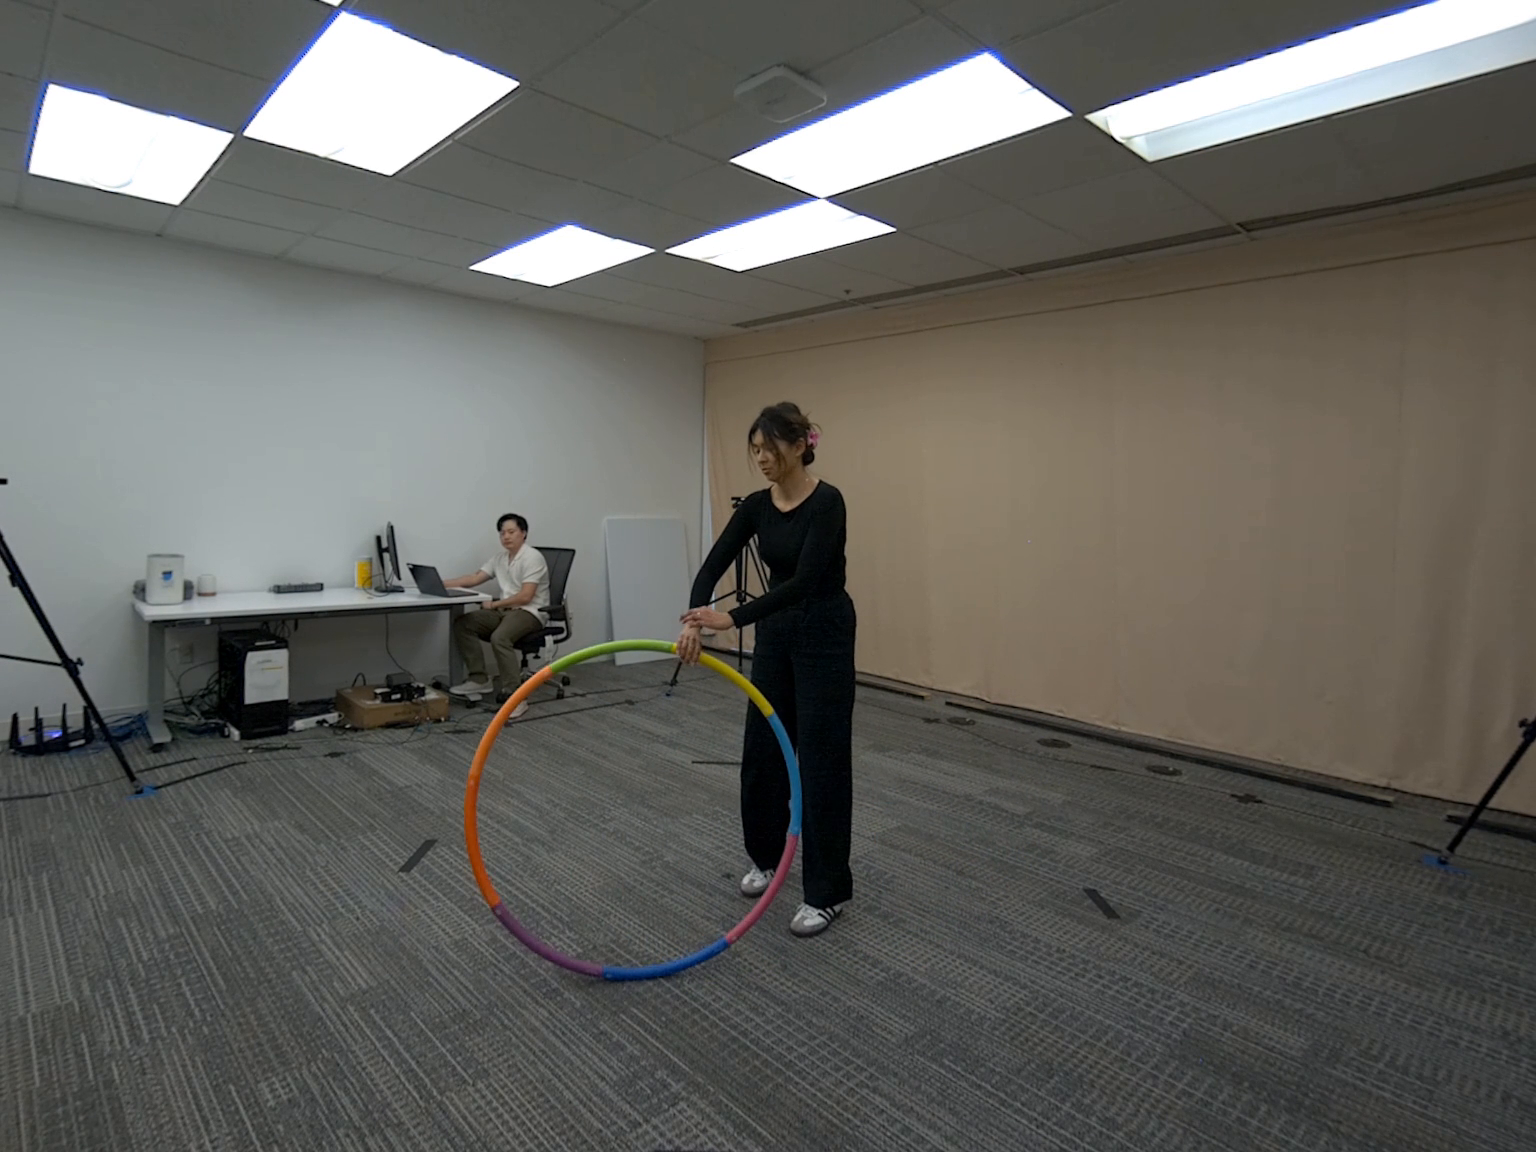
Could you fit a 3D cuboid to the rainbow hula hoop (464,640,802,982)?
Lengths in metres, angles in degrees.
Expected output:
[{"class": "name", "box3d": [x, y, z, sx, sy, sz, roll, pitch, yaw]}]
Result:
[{"class": "rainbow hula hoop", "box3d": [-0.384, 0.684, 2.492, 0.971, 0.986, 0.035, 0, -10, -9]}]
